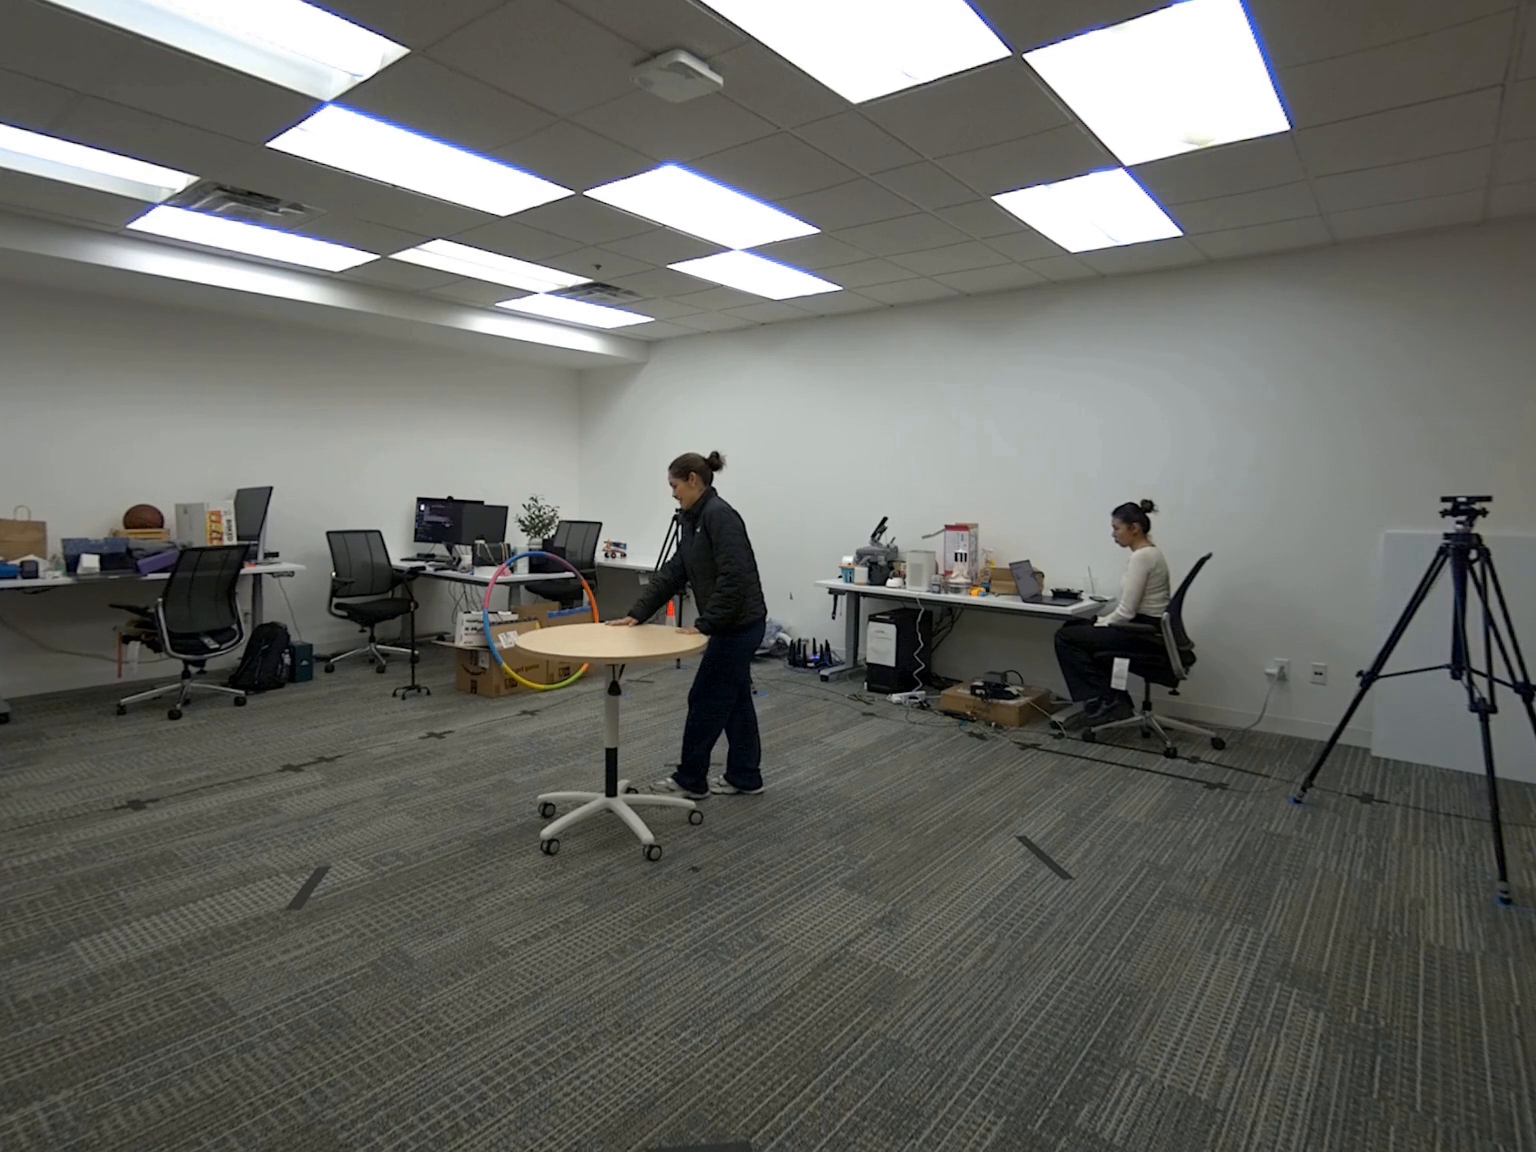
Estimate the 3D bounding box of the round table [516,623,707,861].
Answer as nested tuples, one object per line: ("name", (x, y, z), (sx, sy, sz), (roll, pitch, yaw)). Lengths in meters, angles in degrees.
("round table", (-0.609, 0.632, 3.460), (0.784, 0.784, 0.789), (1, 4, -2))
